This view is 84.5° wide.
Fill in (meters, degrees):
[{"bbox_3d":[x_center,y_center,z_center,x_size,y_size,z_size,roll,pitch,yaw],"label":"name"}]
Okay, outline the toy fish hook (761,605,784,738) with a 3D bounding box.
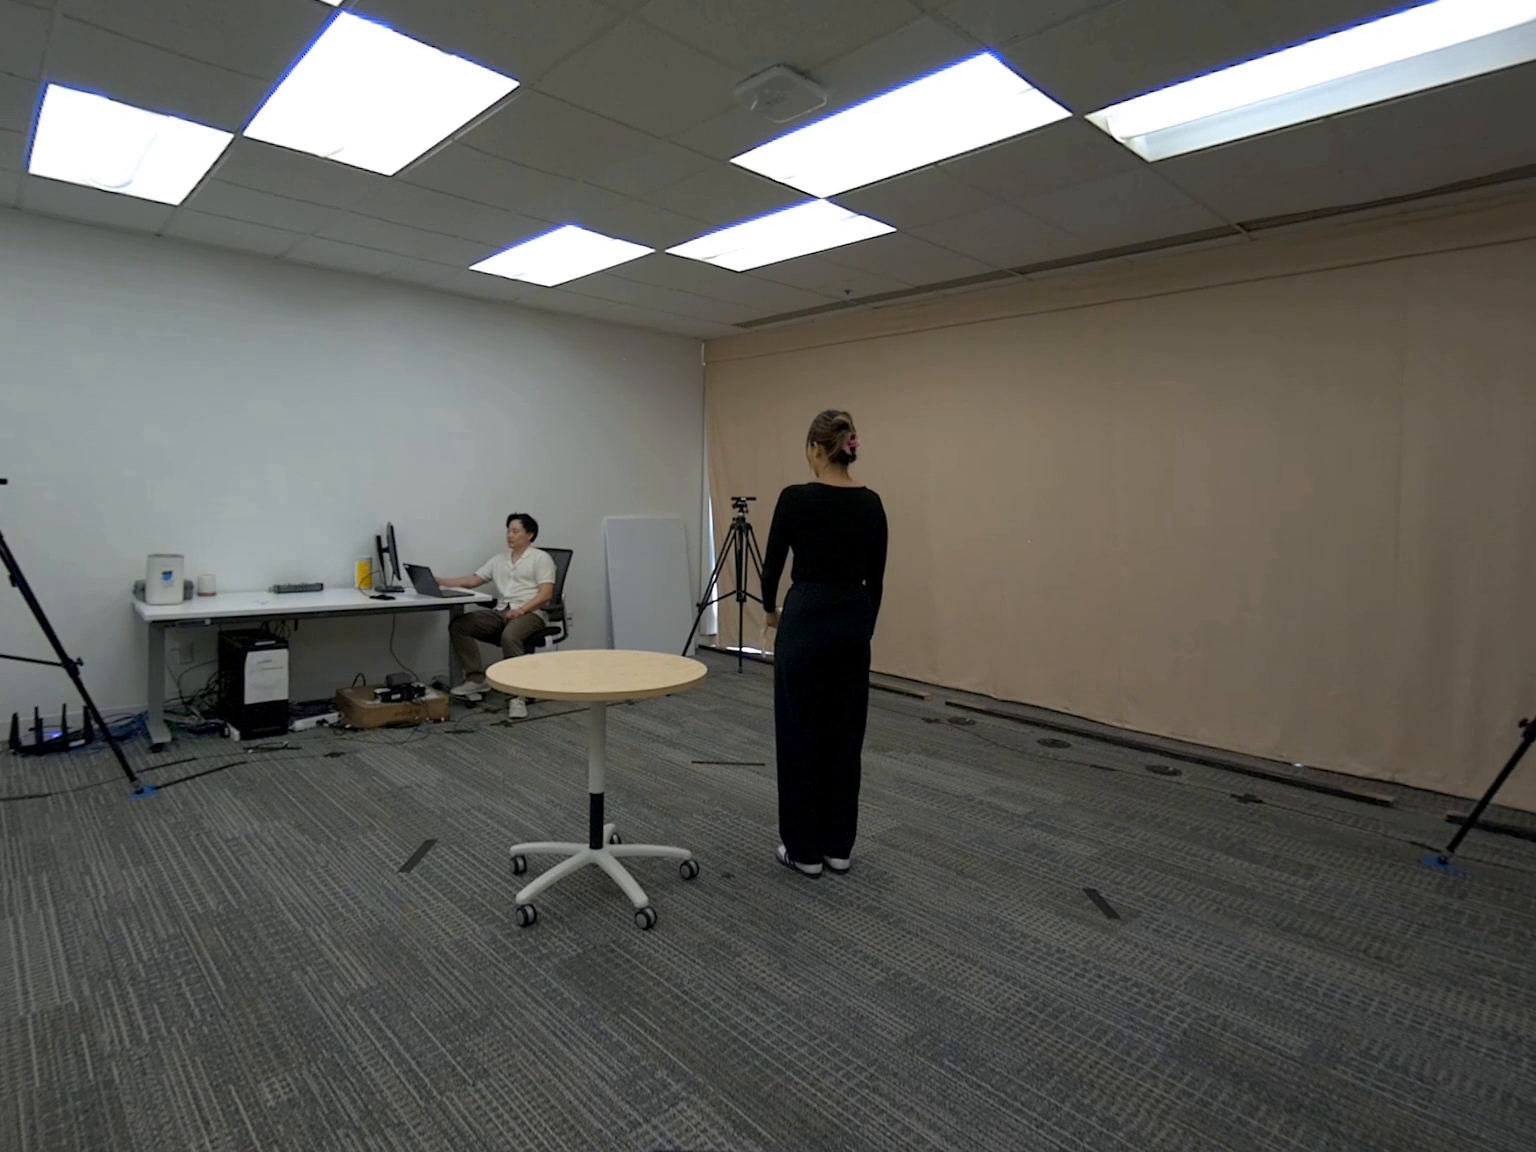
[{"bbox_3d":[0.040,0.388,3.418,0.047,0.512,0.226,5,-14,-22],"label":"toy fish hook"}]
